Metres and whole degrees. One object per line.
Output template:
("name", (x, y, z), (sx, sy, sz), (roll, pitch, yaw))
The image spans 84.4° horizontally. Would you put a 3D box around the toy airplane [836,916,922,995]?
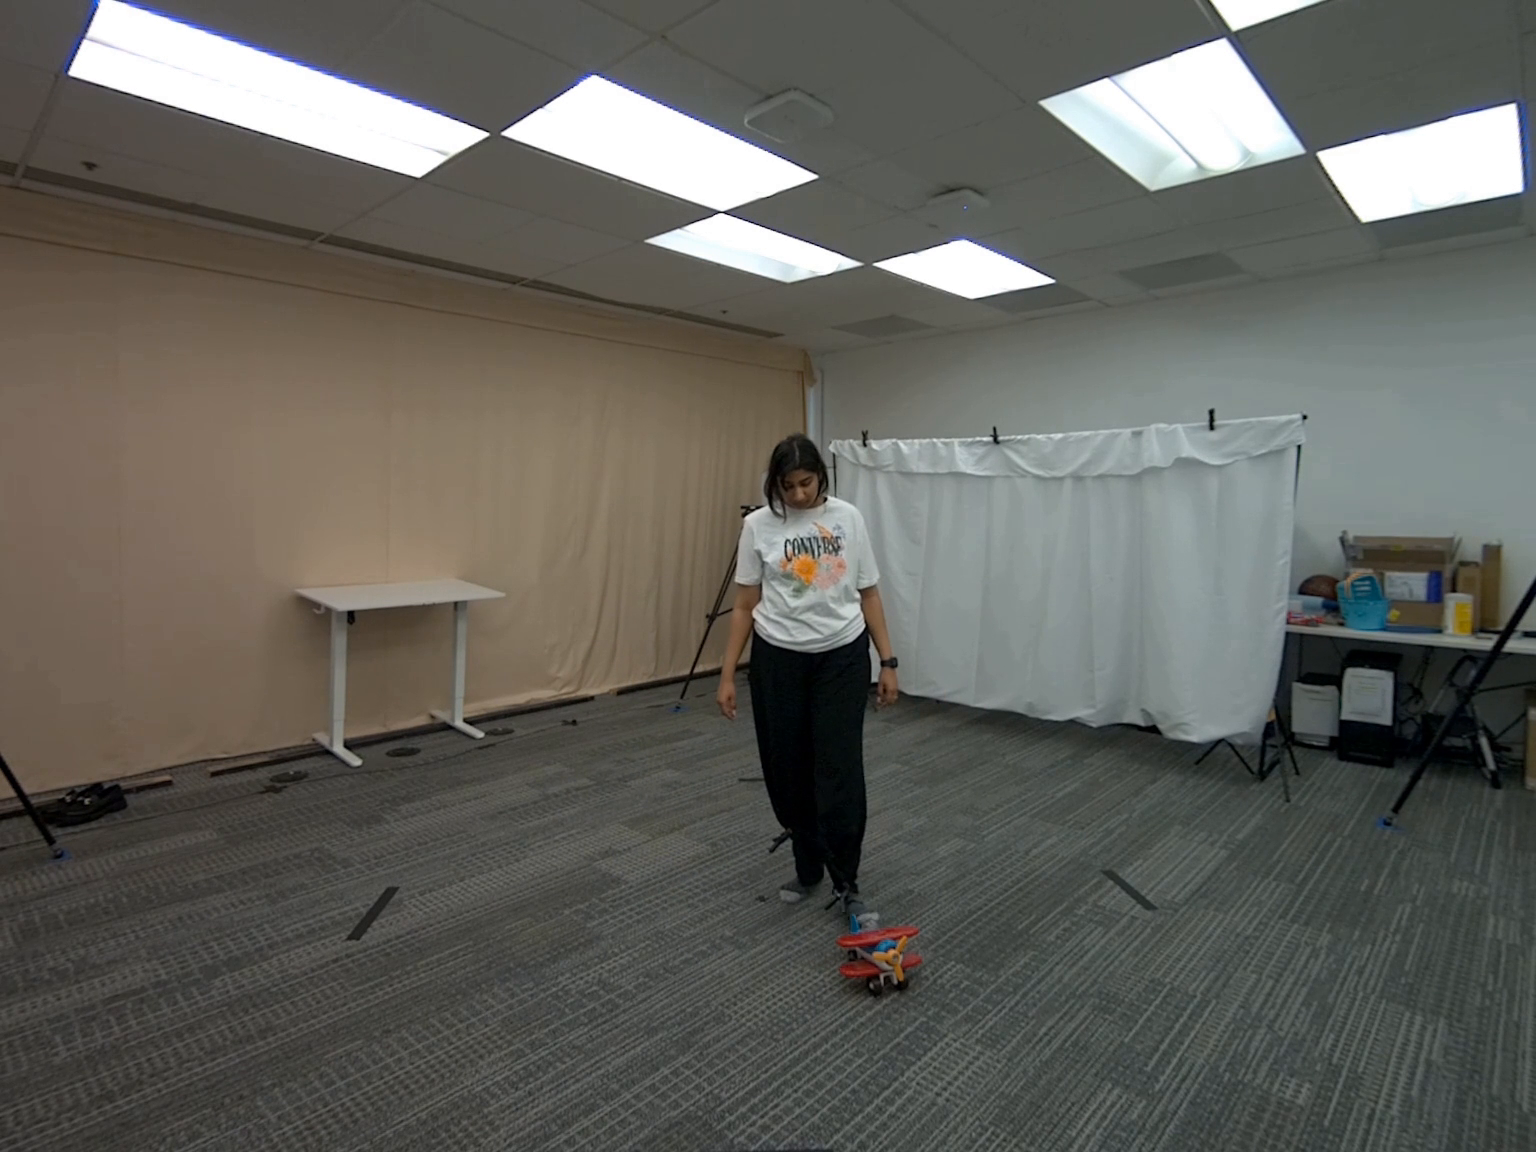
("toy airplane", (0.302, 1.109, 2.483), (0.268, 0.156, 0.243), (5, 7, 43))
